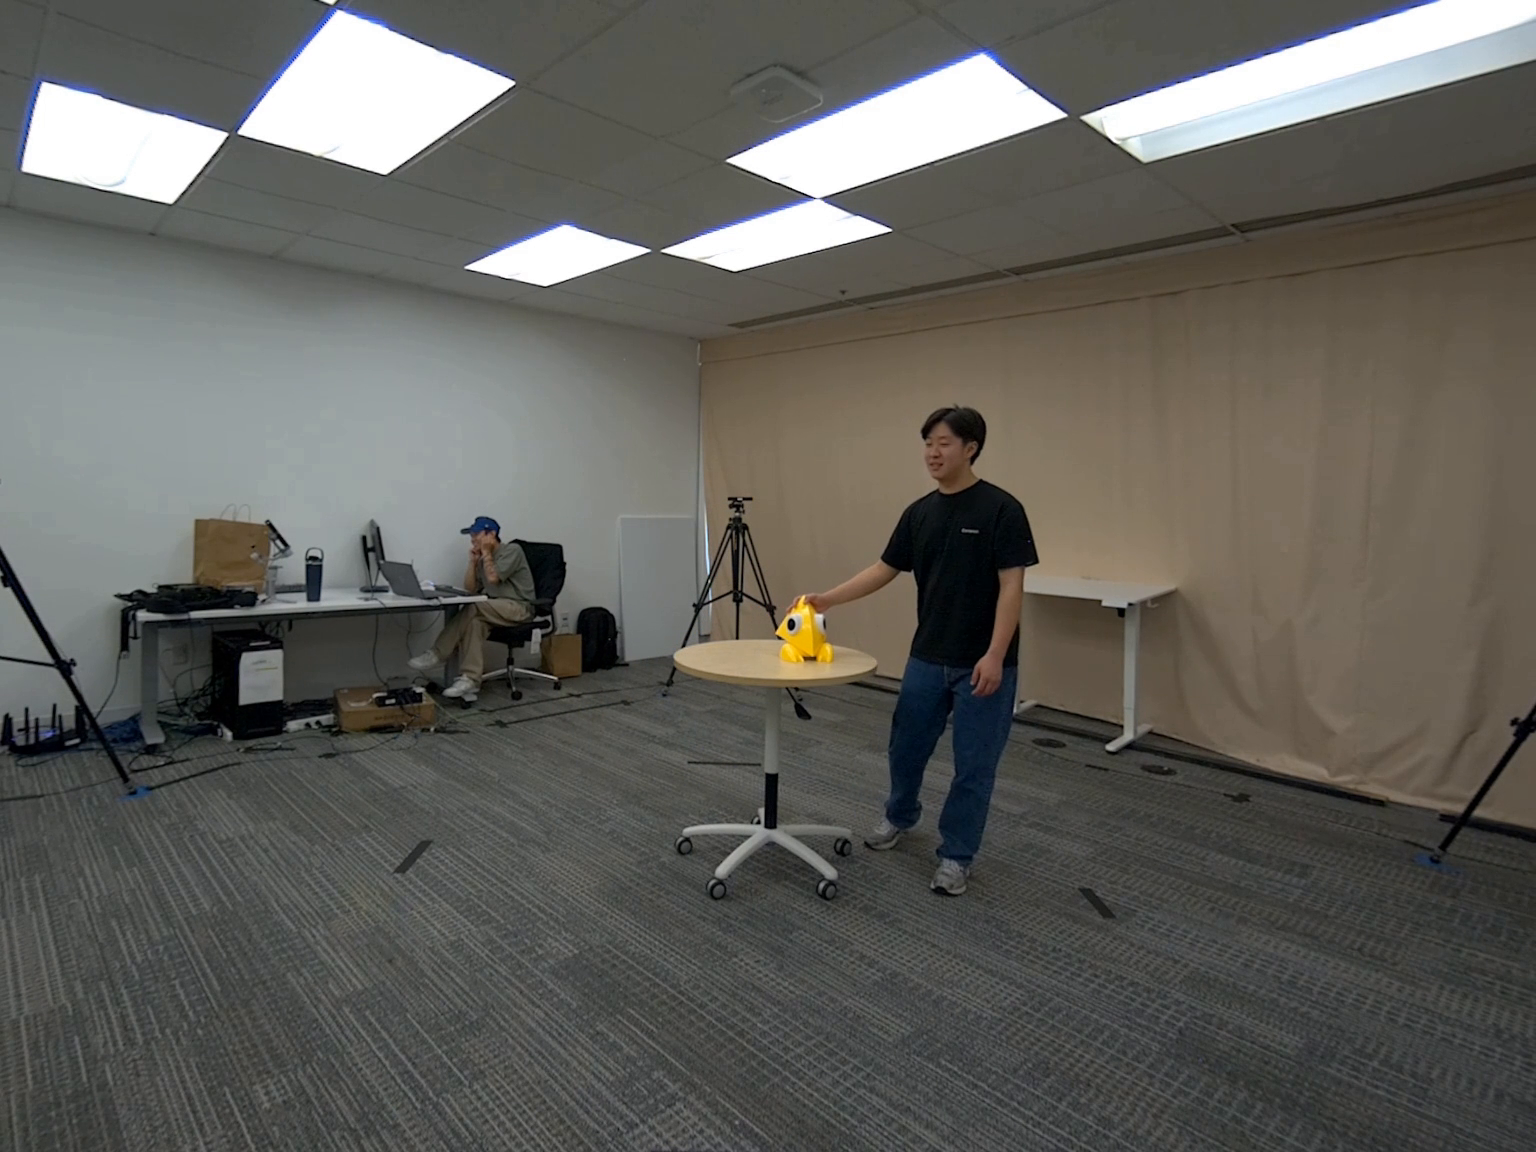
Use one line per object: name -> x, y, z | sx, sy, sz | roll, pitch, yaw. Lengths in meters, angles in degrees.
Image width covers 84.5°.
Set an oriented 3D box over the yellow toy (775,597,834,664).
yellow toy -> 0.146, 0.198, 3.175 | 0.203, 0.230, 0.195 | 2, 3, -11
